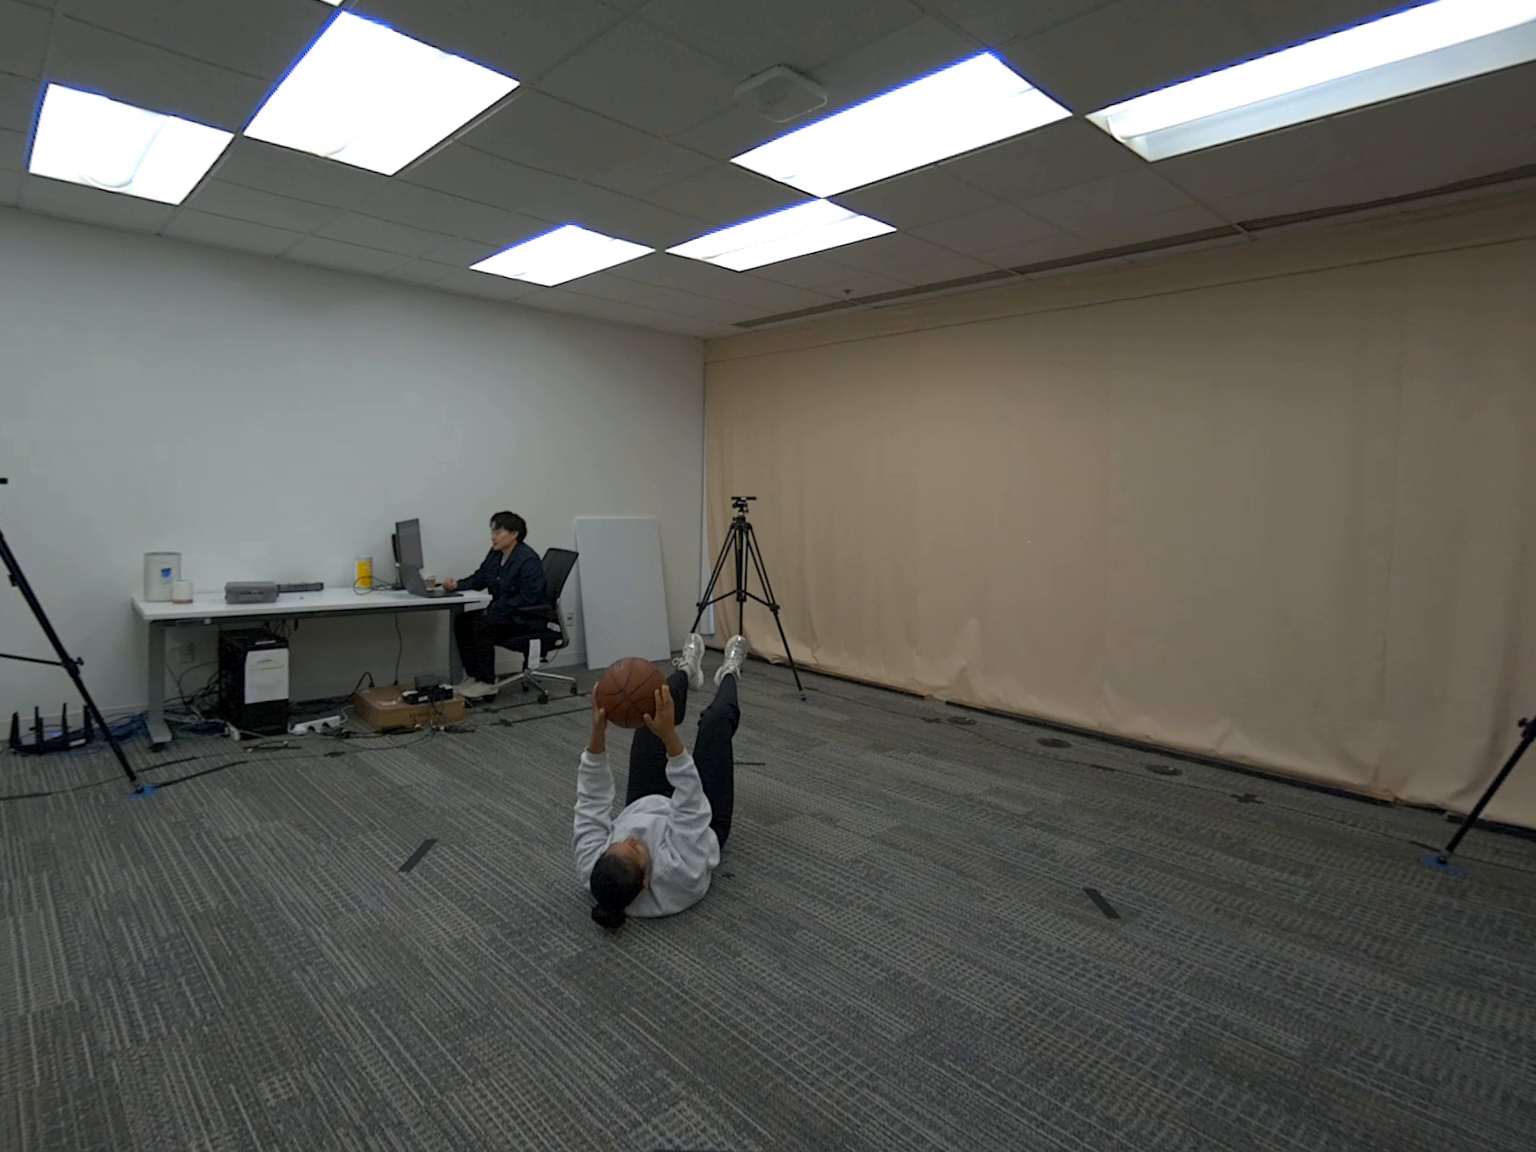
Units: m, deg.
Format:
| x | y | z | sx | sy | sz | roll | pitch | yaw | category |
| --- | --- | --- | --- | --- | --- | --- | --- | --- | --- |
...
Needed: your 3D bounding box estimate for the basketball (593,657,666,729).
| x | y | z | sx | sy | sz | roll | pitch | yaw | category |
| --- | --- | --- | --- | --- | --- | --- | --- | --- | --- |
| -0.469 | 0.408 | 2.843 | 0.236 | 0.235 | 0.237 | 1 | 5 | -1 | basketball |
